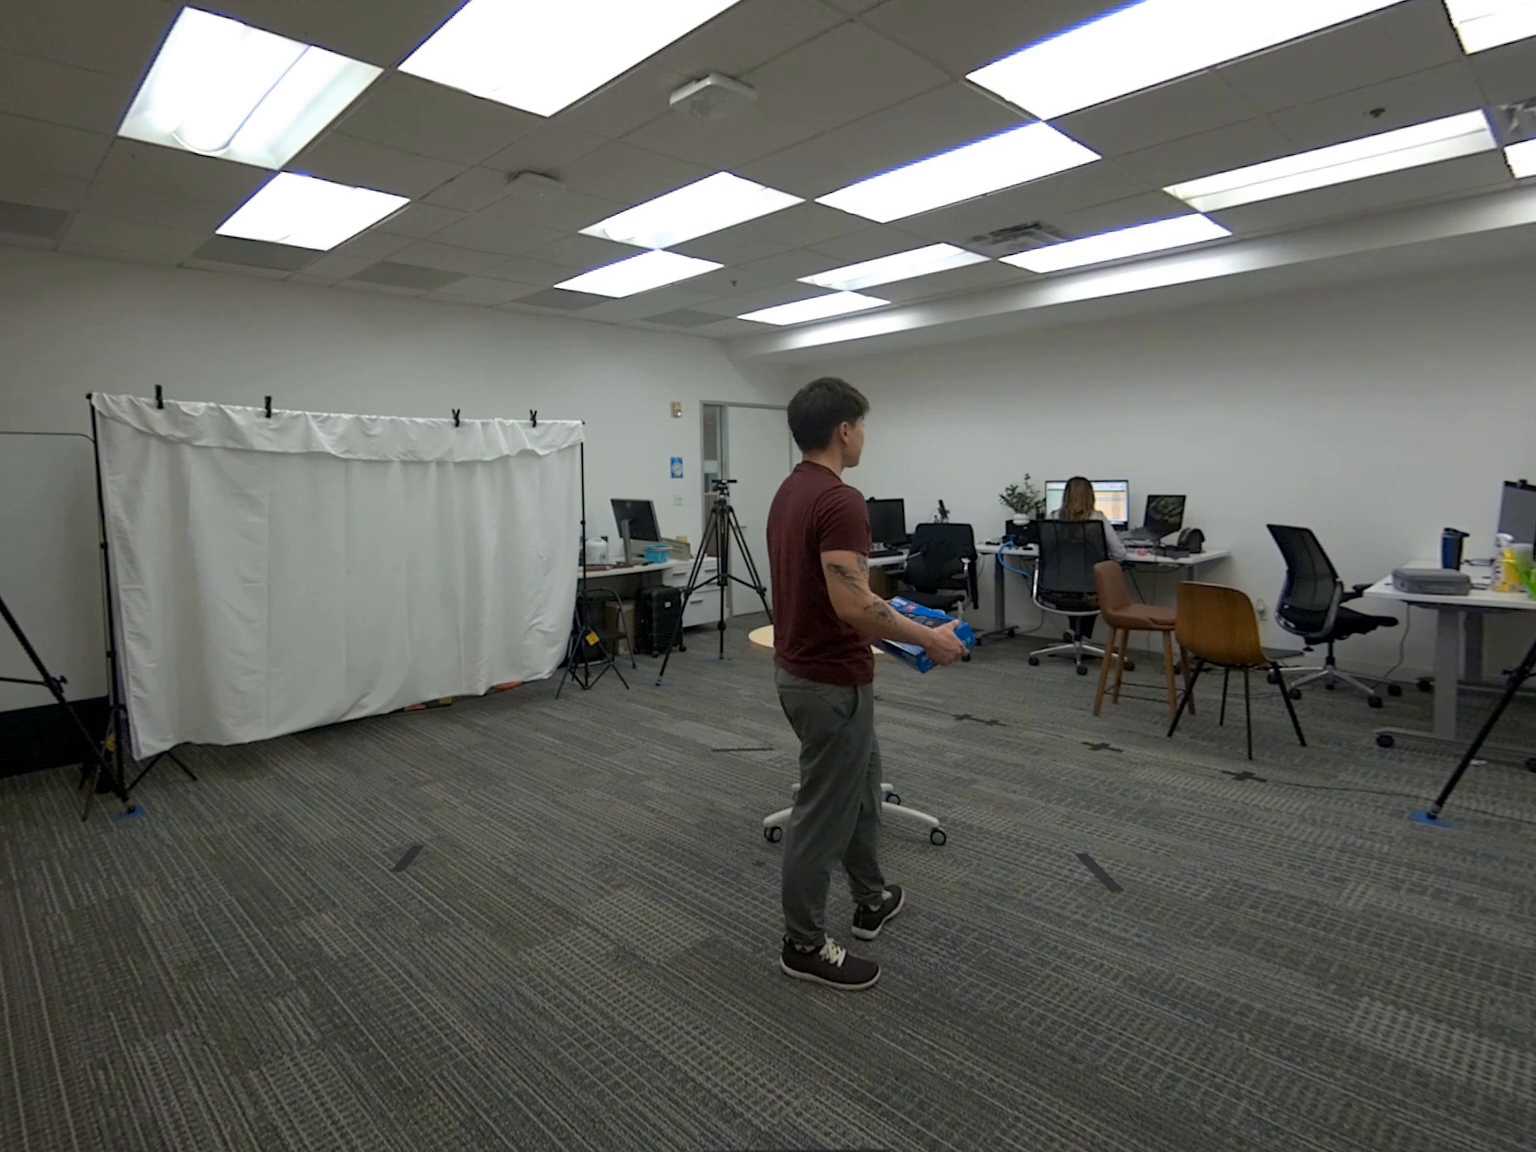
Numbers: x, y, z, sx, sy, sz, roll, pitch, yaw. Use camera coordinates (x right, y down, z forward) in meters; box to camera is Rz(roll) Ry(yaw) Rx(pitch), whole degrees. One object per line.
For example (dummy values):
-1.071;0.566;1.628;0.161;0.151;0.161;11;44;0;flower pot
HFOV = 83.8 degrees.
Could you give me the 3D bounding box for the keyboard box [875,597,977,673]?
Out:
0.402;0.156;2.448;0.175;0.058;0.446;-25;15;-15;keyboard box
